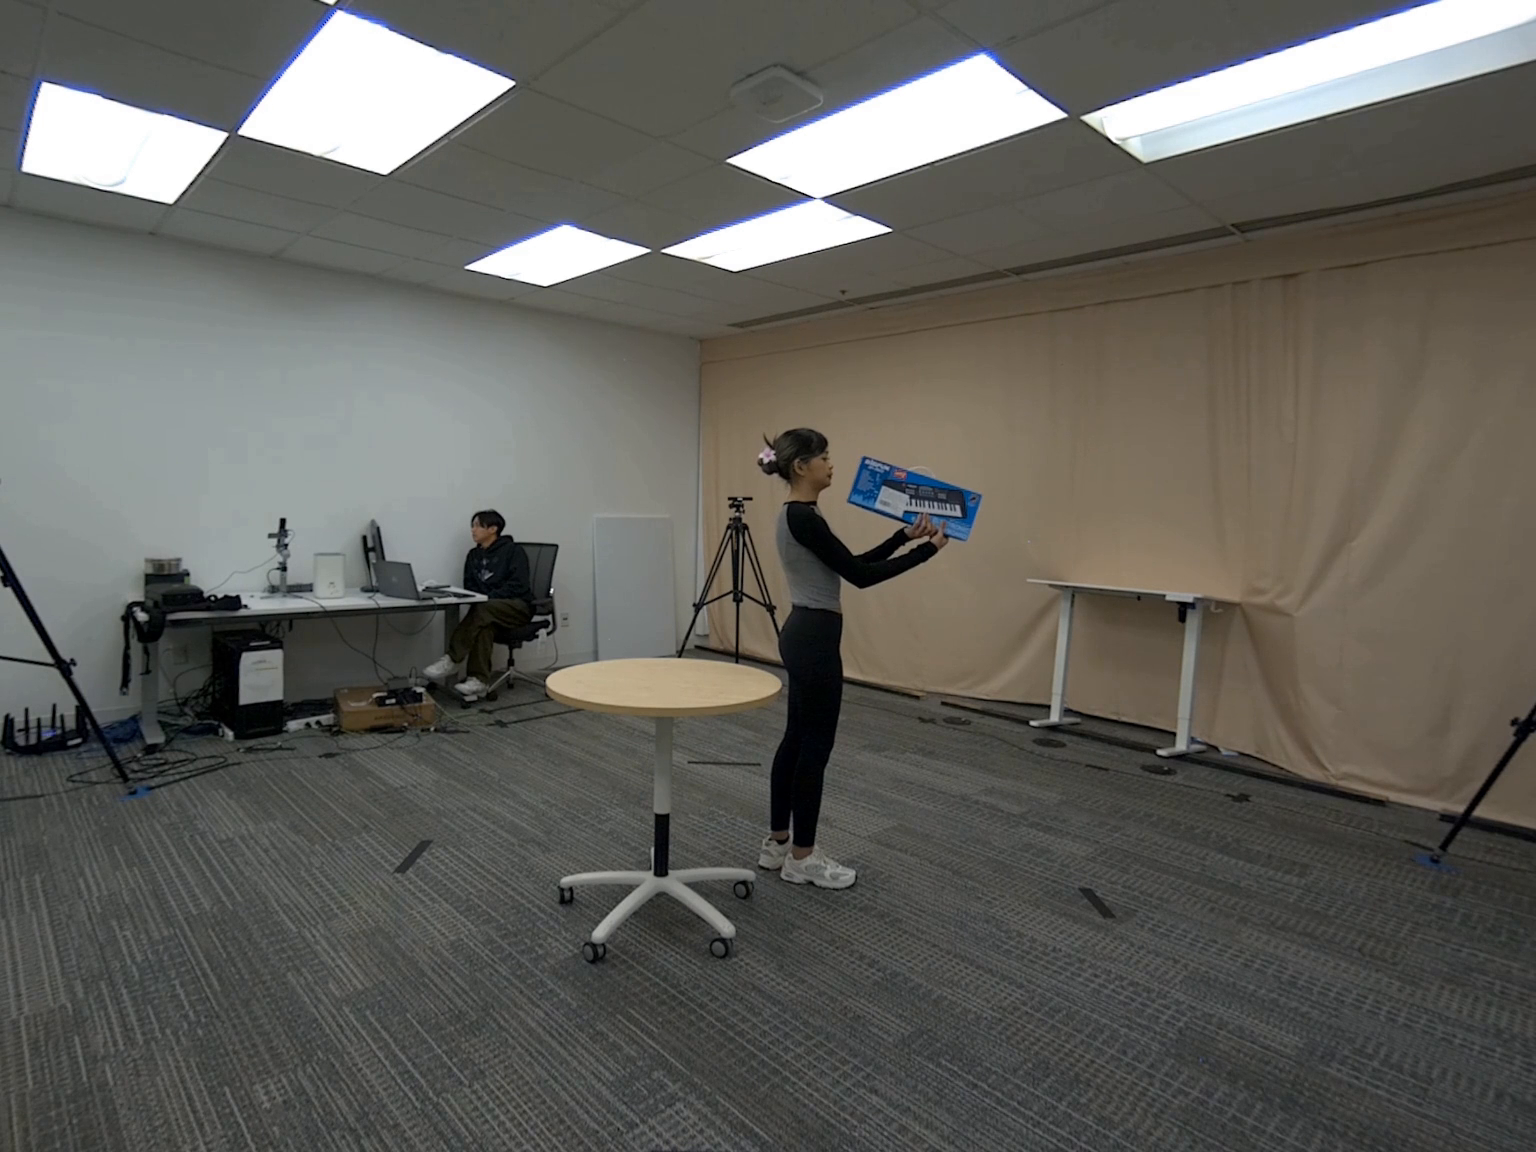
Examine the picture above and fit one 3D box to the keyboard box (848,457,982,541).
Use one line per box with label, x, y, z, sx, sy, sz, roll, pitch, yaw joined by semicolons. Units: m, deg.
keyboard box;0.511;-0.272;2.967;0.438;0.176;0.059;19;1;3
